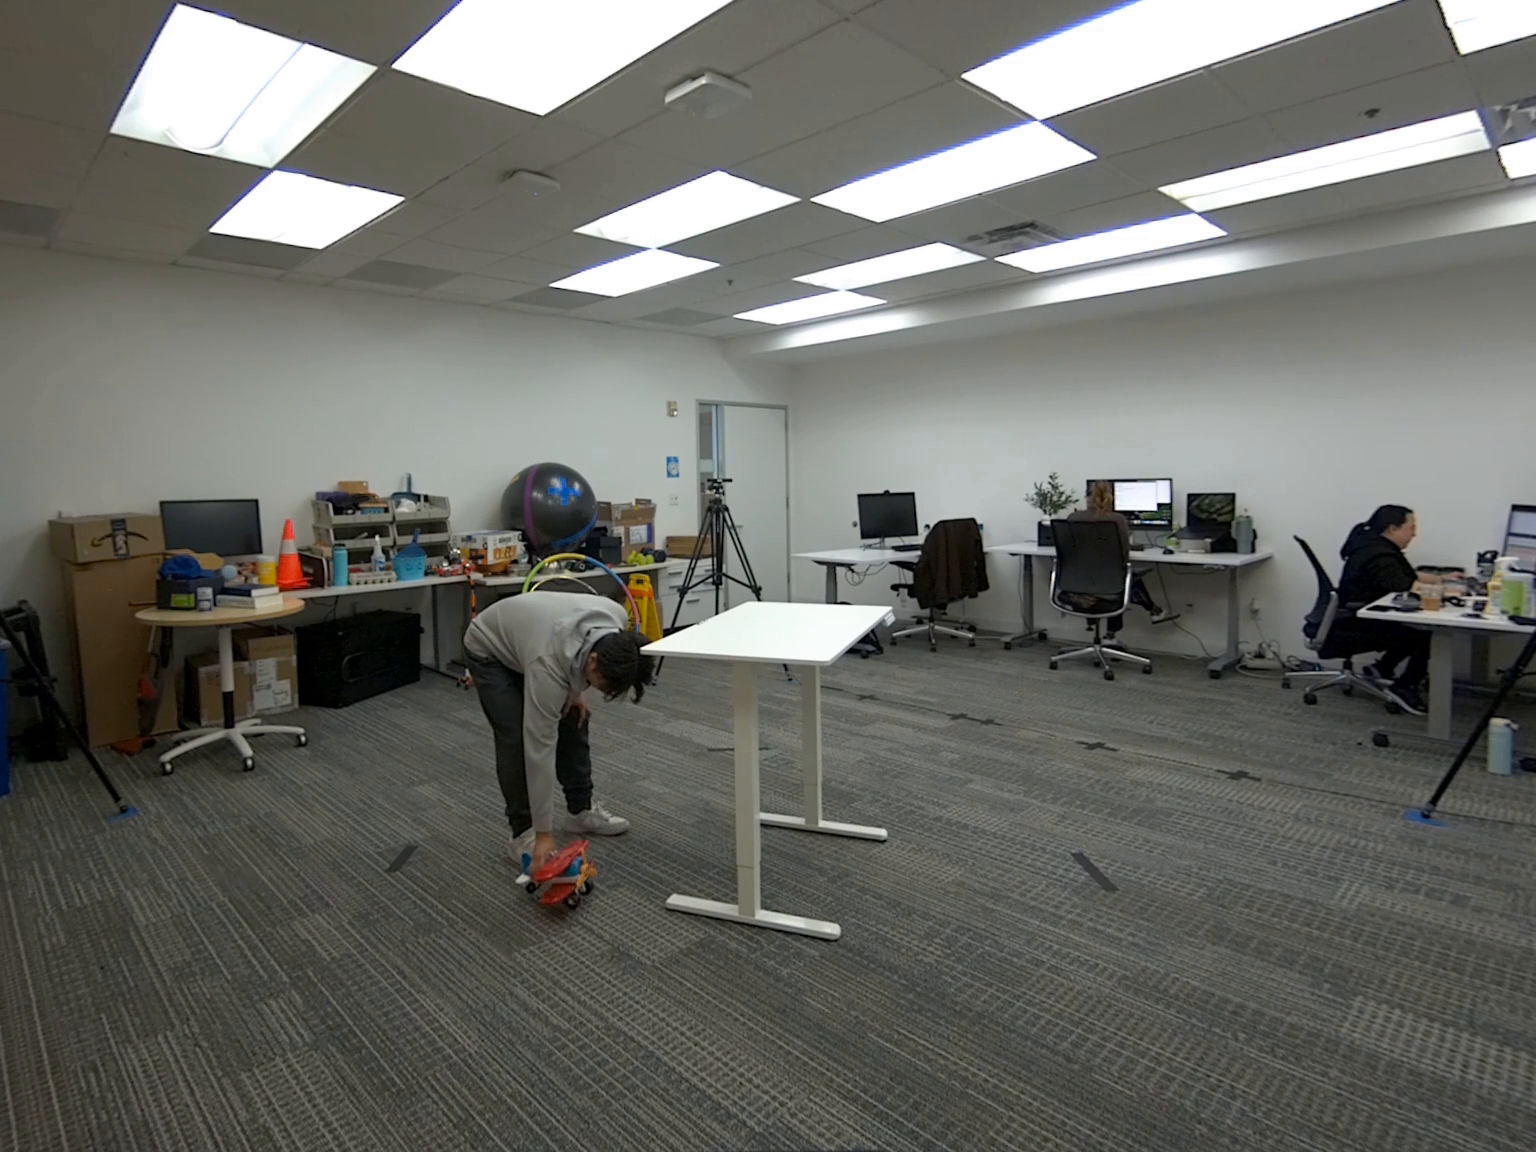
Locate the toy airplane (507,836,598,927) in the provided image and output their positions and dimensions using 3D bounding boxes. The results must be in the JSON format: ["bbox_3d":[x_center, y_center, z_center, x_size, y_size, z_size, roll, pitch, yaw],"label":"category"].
[{"bbox_3d":[-0.703,0.996,2.820,0.258,0.155,0.255,-2,10,-7],"label":"toy airplane"}]
